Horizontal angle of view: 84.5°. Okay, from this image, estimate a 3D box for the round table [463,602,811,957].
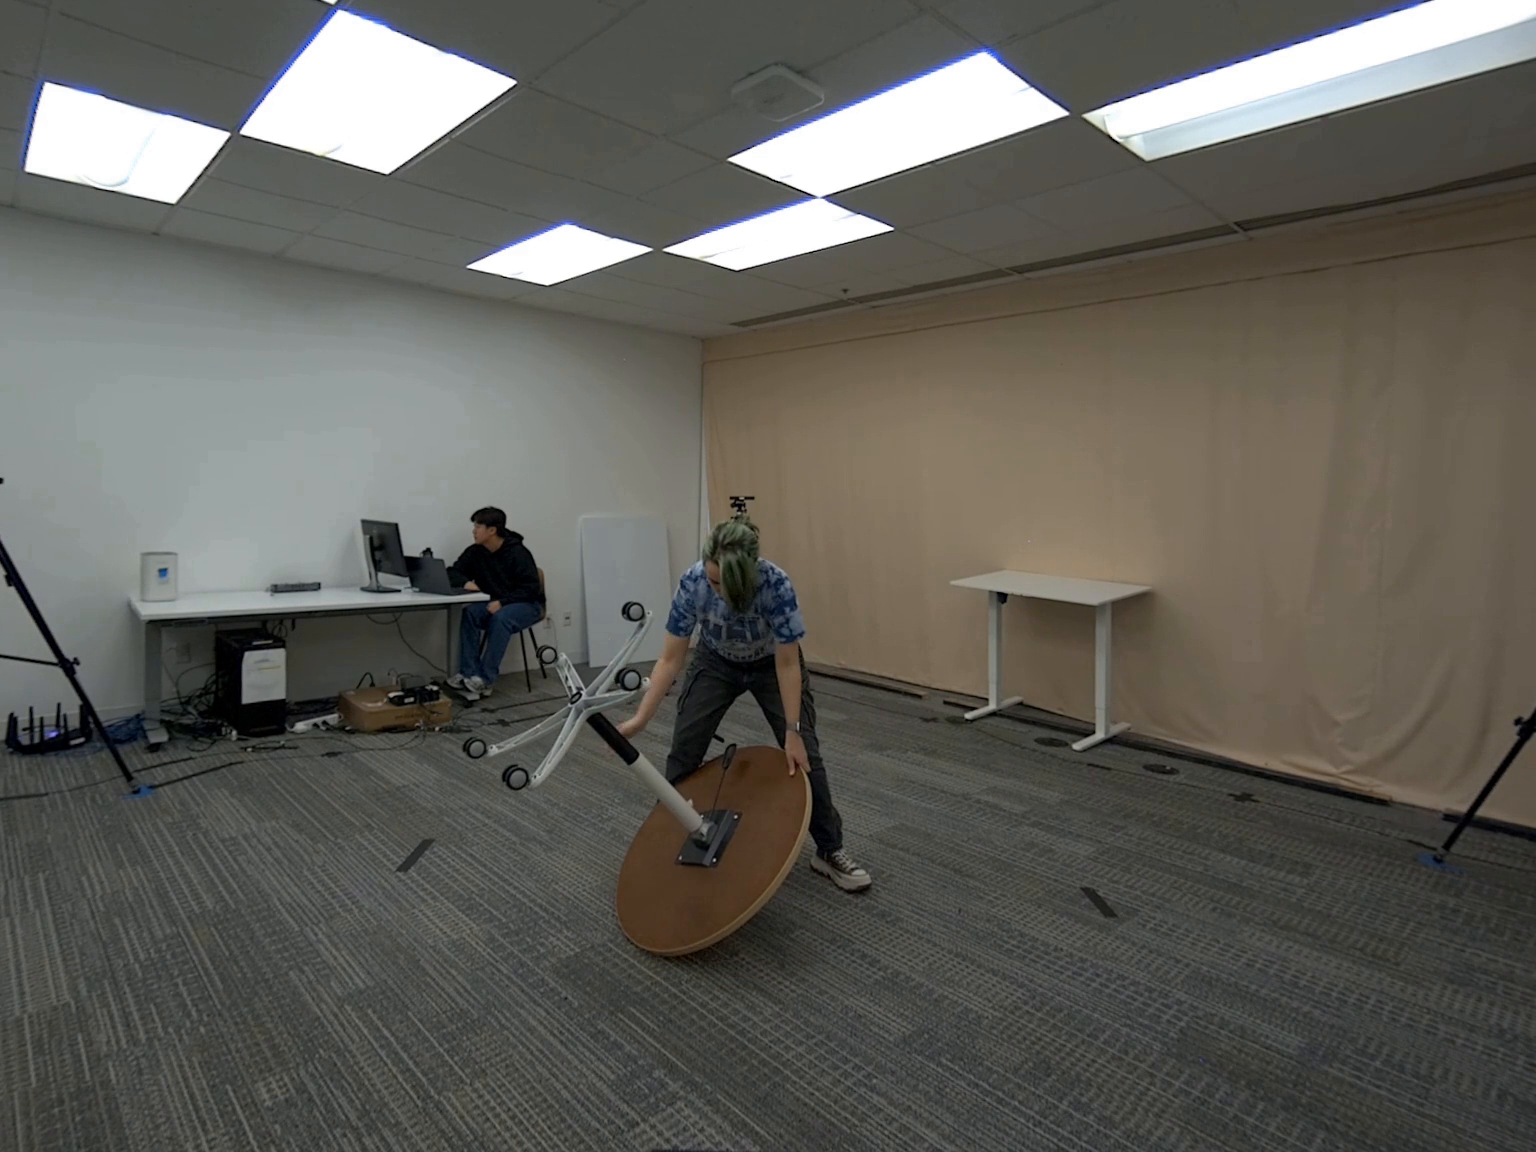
[{"bbox_3d":[-0.409,0.594,2.617,0.767,0.776,0.778,-32,24,14],"label":"round table"}]
